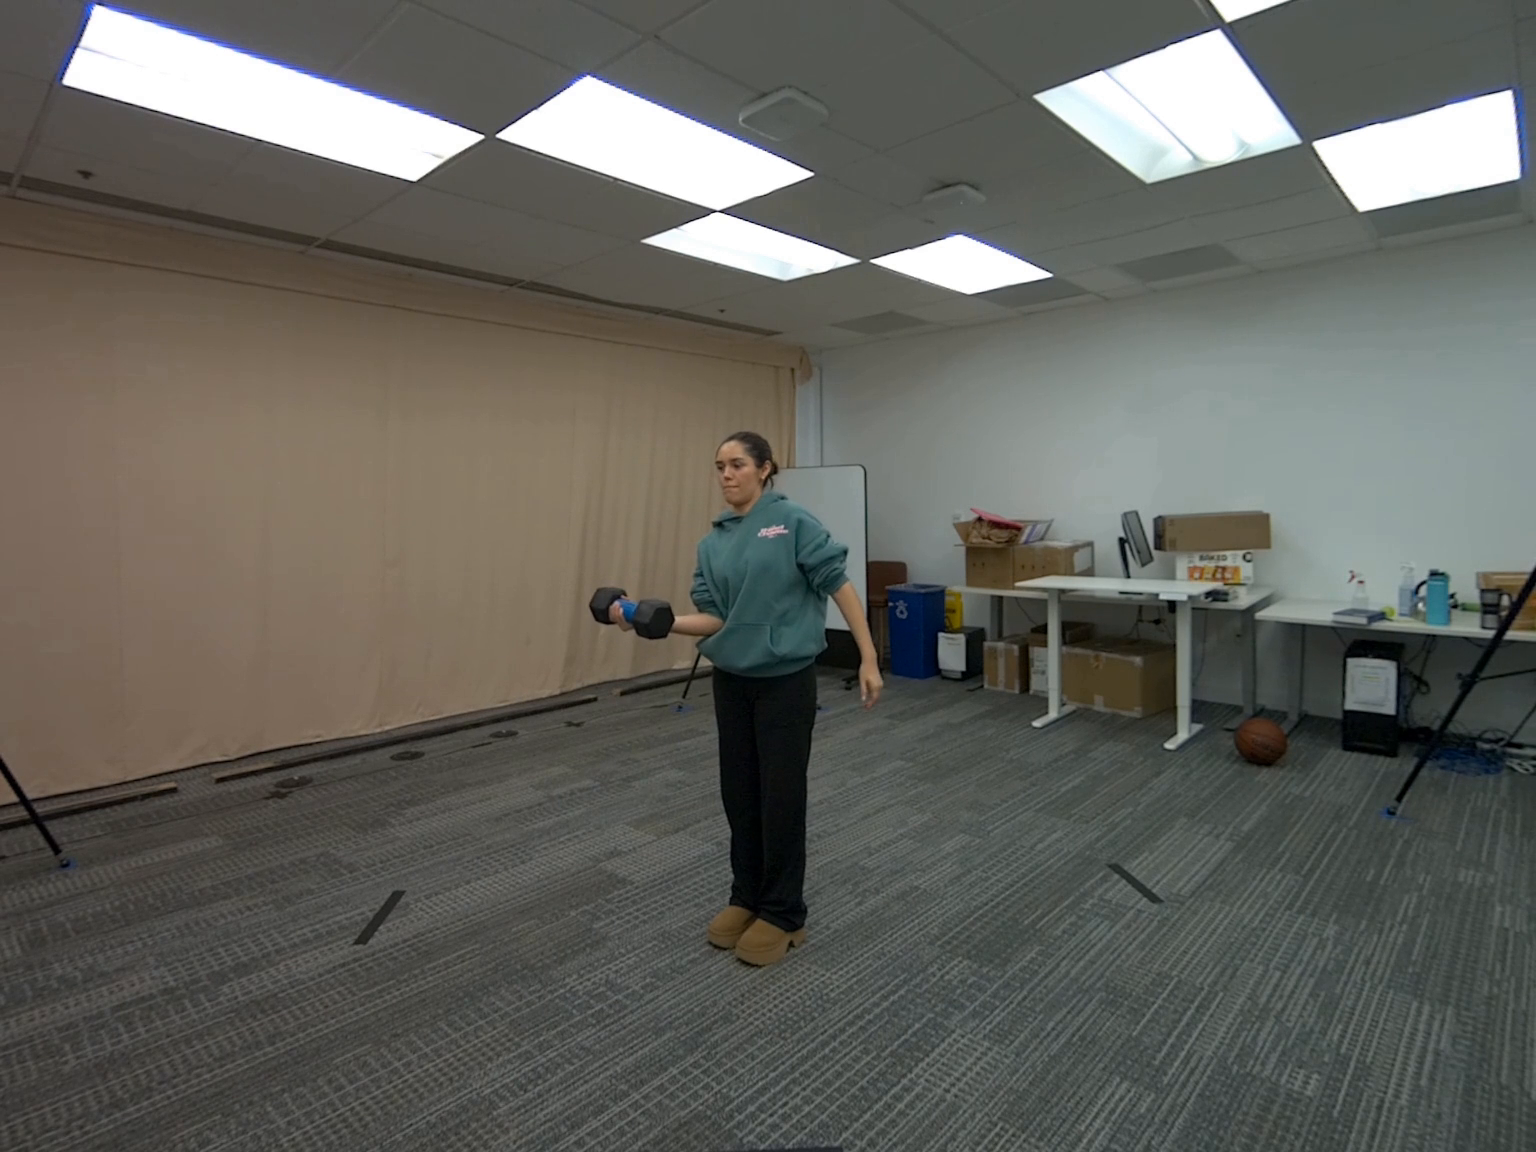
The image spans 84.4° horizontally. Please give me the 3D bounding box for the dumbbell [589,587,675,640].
[{"bbox_3d":[-0.410,0.106,2.535,0.304,0.108,0.119,13,9,44],"label":"dumbbell"}]
